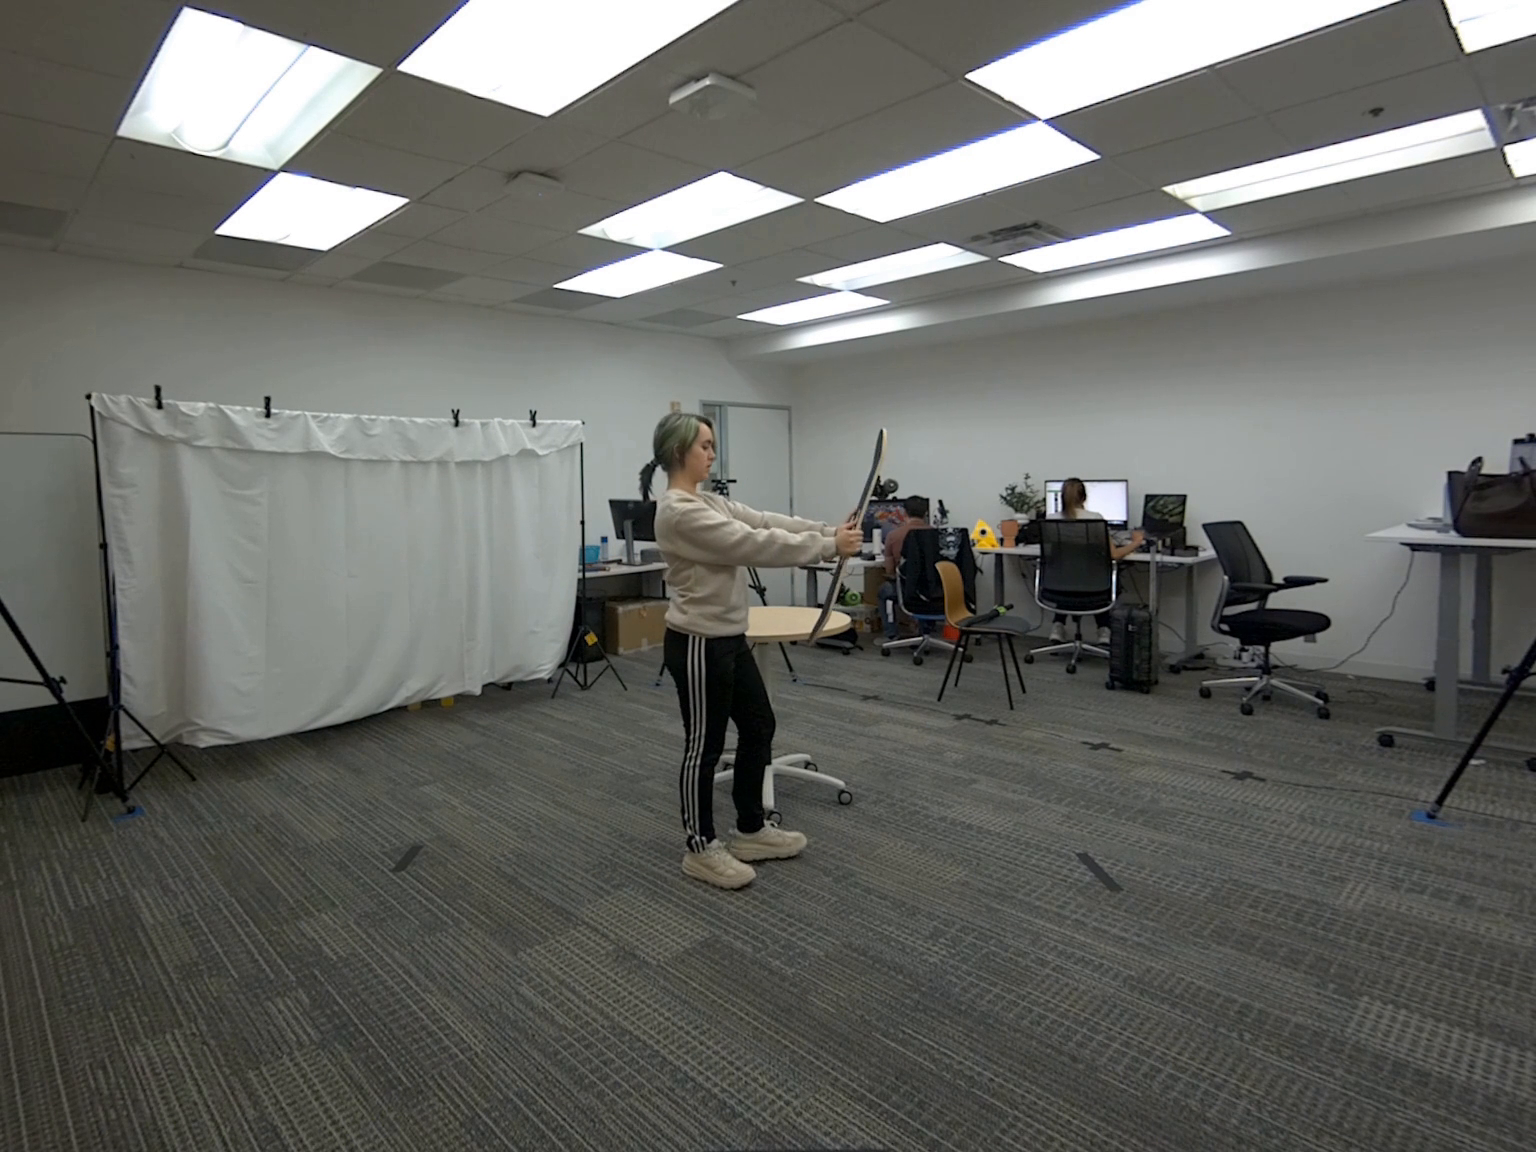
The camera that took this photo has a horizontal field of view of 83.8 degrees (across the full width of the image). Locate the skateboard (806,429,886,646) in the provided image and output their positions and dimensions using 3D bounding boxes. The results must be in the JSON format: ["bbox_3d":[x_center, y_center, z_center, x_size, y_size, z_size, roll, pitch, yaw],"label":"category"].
[{"bbox_3d":[0.315,-0.122,2.924,0.110,0.788,0.193,19,-5,-1],"label":"skateboard"}]
